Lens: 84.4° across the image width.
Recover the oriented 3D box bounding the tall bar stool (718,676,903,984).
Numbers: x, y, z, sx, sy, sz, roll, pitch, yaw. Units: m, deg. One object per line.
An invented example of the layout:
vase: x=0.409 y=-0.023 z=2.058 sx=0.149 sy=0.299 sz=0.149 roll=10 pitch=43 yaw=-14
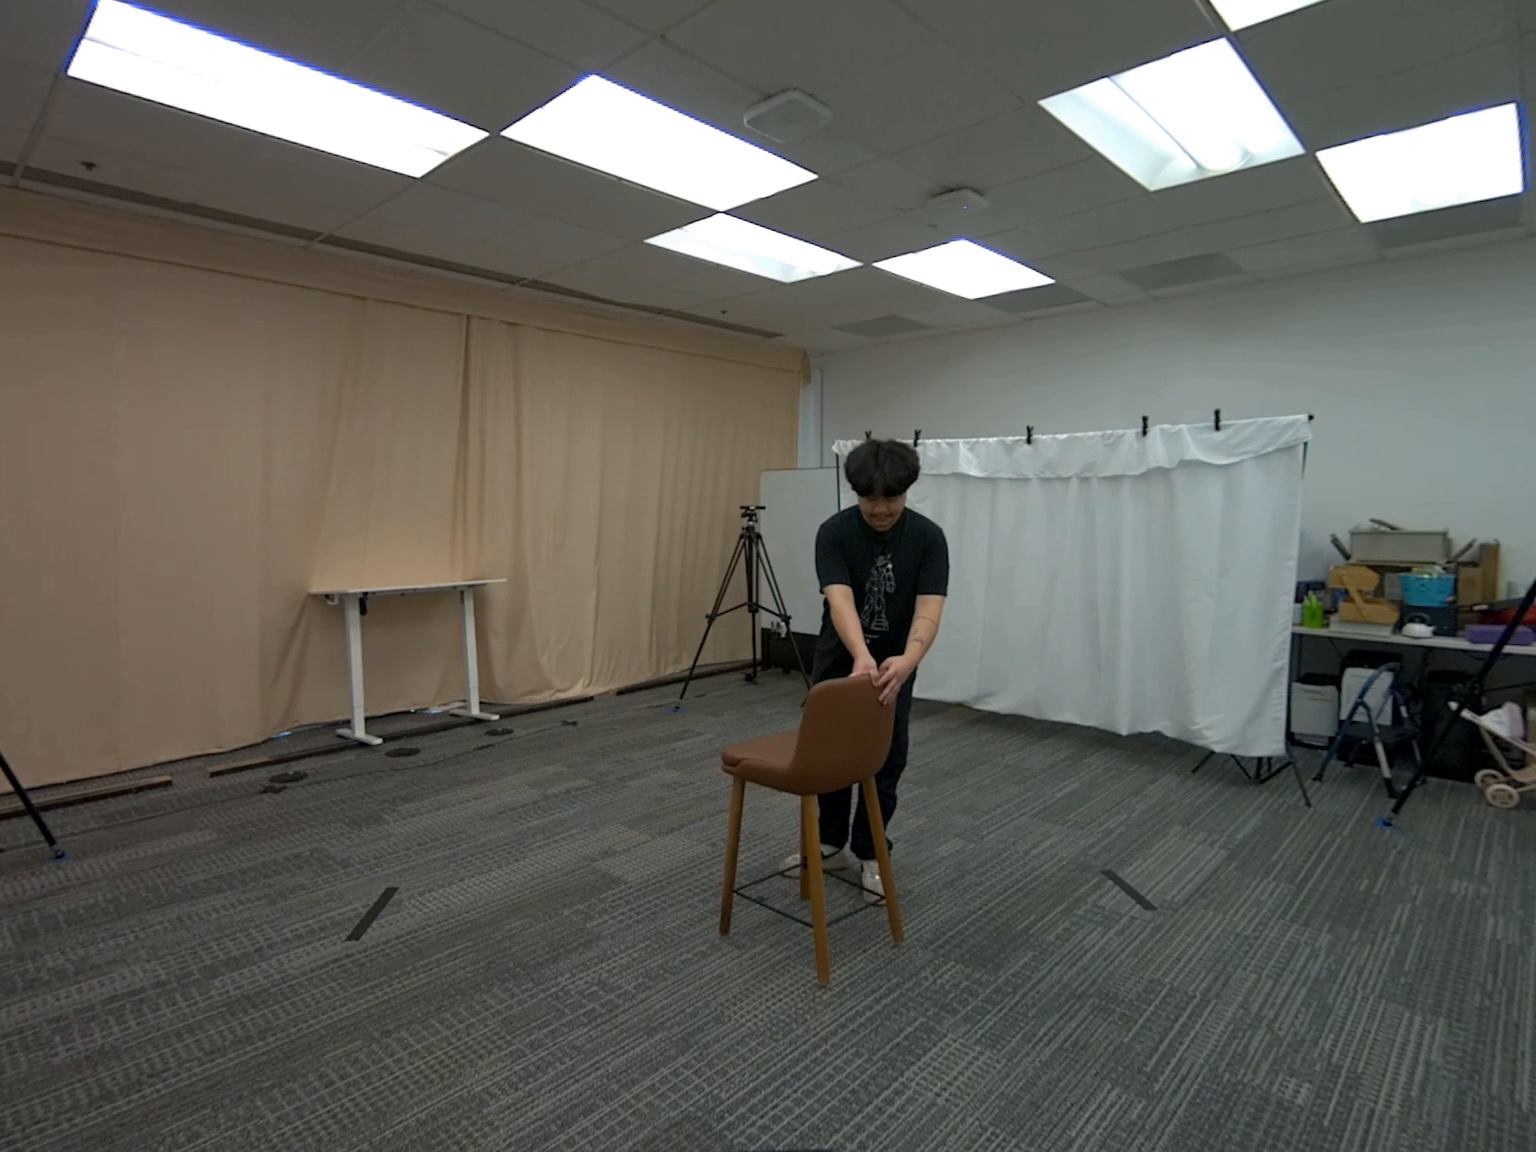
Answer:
tall bar stool: x=0.136 y=0.724 z=2.683 sx=0.442 sy=0.888 sz=0.483 roll=-3 pitch=5 yaw=-41
